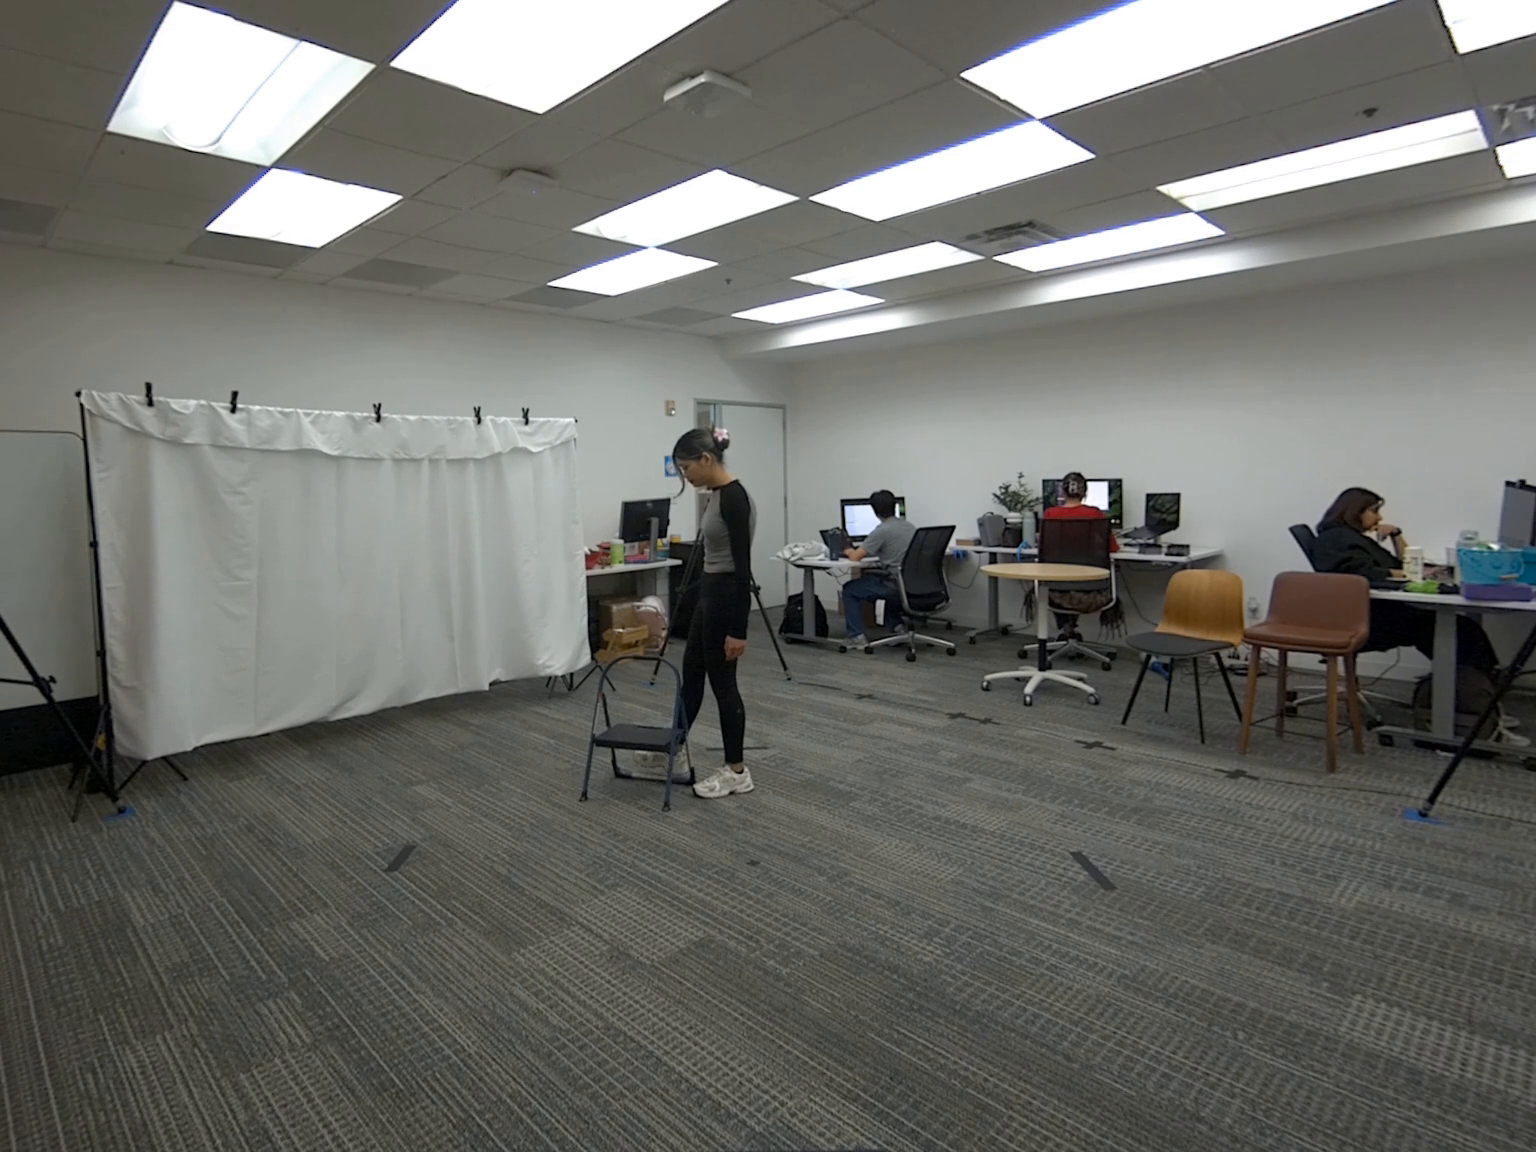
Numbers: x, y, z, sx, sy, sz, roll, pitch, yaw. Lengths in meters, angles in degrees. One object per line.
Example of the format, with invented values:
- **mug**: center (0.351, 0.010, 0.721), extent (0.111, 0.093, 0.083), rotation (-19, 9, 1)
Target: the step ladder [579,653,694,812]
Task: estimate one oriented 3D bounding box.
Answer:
- **step ladder**: center (-0.584, 0.676, 3.818), extent (0.438, 0.604, 0.344), rotation (0, 5, 19)
